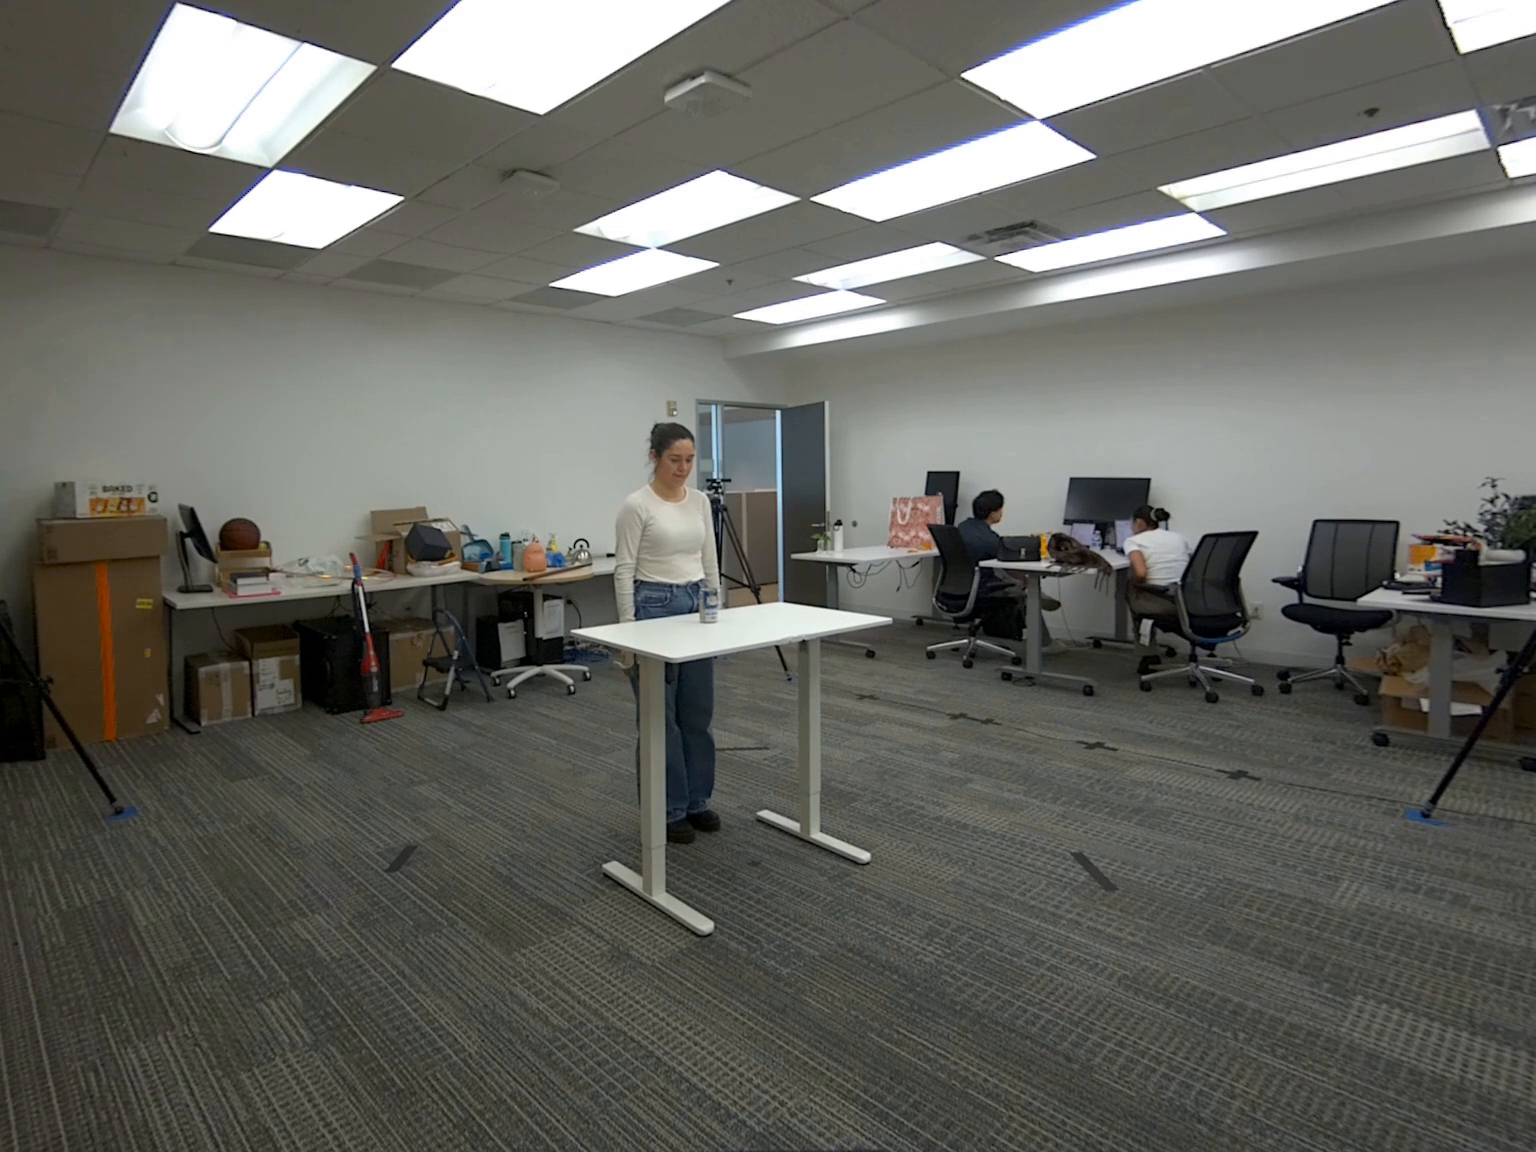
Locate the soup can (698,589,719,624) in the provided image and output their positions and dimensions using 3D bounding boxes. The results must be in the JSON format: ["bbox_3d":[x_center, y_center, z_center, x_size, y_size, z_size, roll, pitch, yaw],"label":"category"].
[{"bbox_3d":[-0.226,0.106,3.083,0.067,0.121,0.067,0,2,-2],"label":"soup can"}]
